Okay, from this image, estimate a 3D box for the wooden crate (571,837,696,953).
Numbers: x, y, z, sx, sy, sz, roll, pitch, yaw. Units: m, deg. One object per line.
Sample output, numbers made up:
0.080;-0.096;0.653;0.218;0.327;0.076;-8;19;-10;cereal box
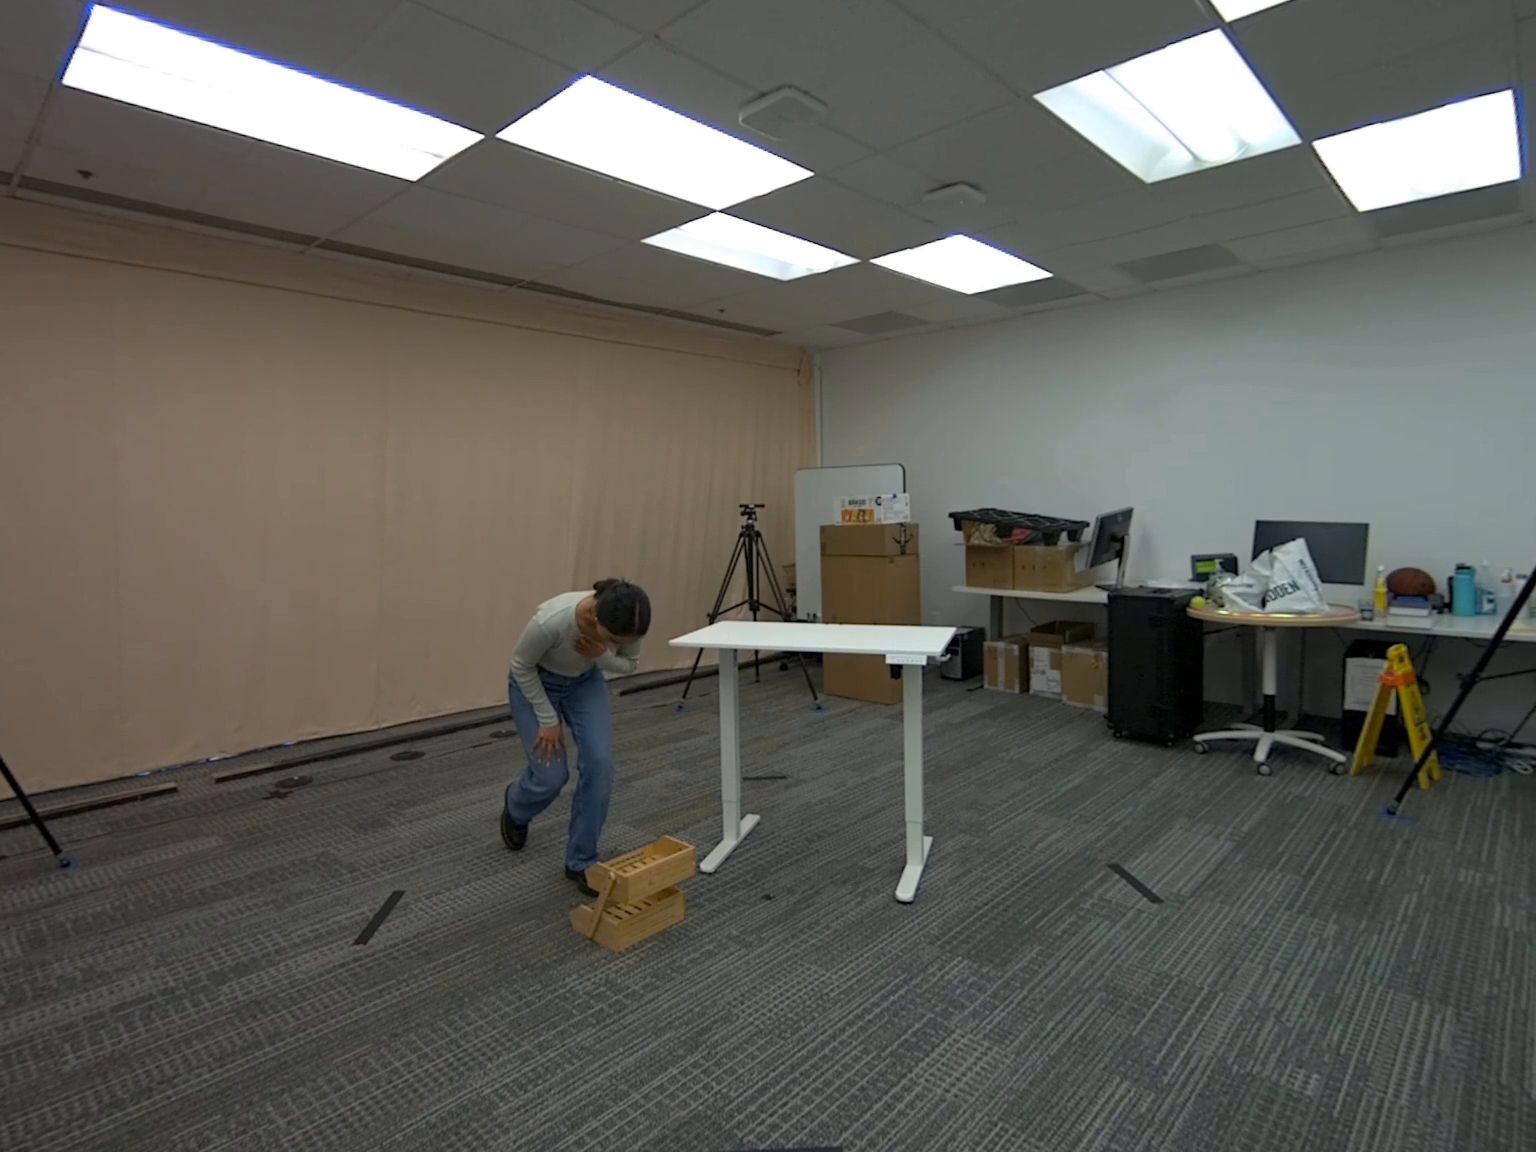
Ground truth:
-0.450;1.031;2.796;0.312;0.272;0.314;4;6;43;wooden crate
